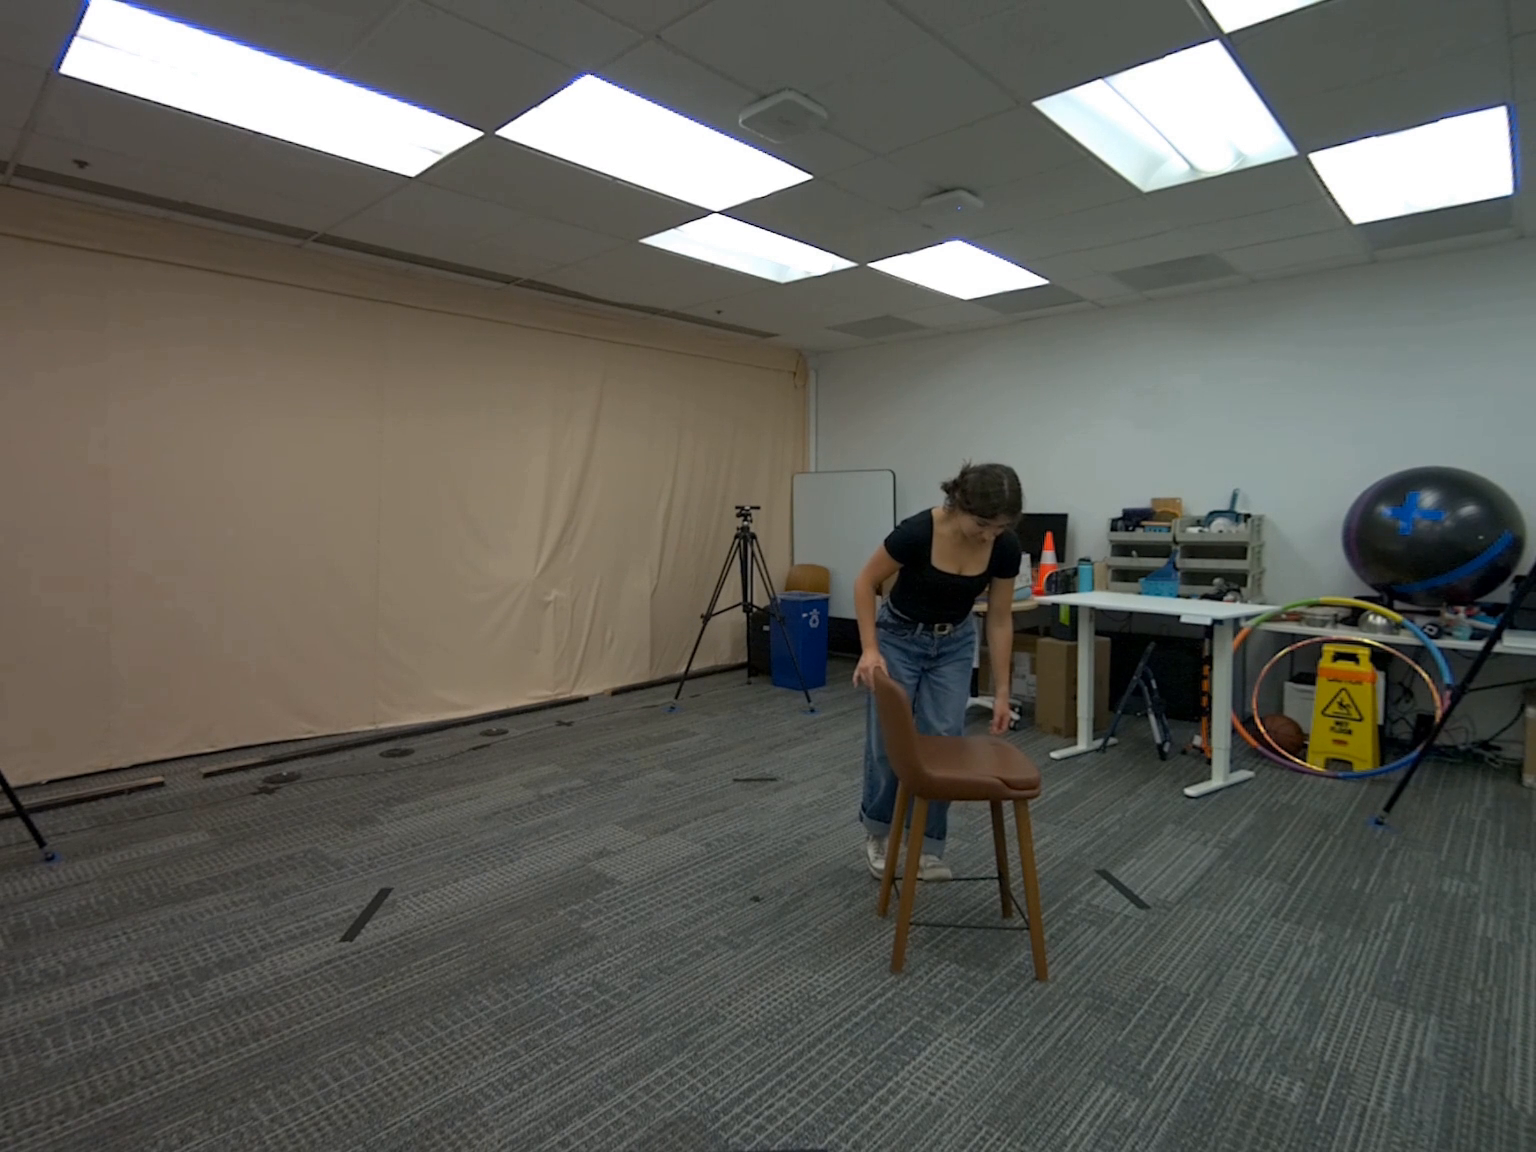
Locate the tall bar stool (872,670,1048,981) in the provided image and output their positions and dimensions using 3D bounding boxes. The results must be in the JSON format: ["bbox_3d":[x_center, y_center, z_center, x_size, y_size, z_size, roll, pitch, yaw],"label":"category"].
[{"bbox_3d":[0.598,0.732,2.652,0.470,0.888,0.455,-2,3,4],"label":"tall bar stool"}]
